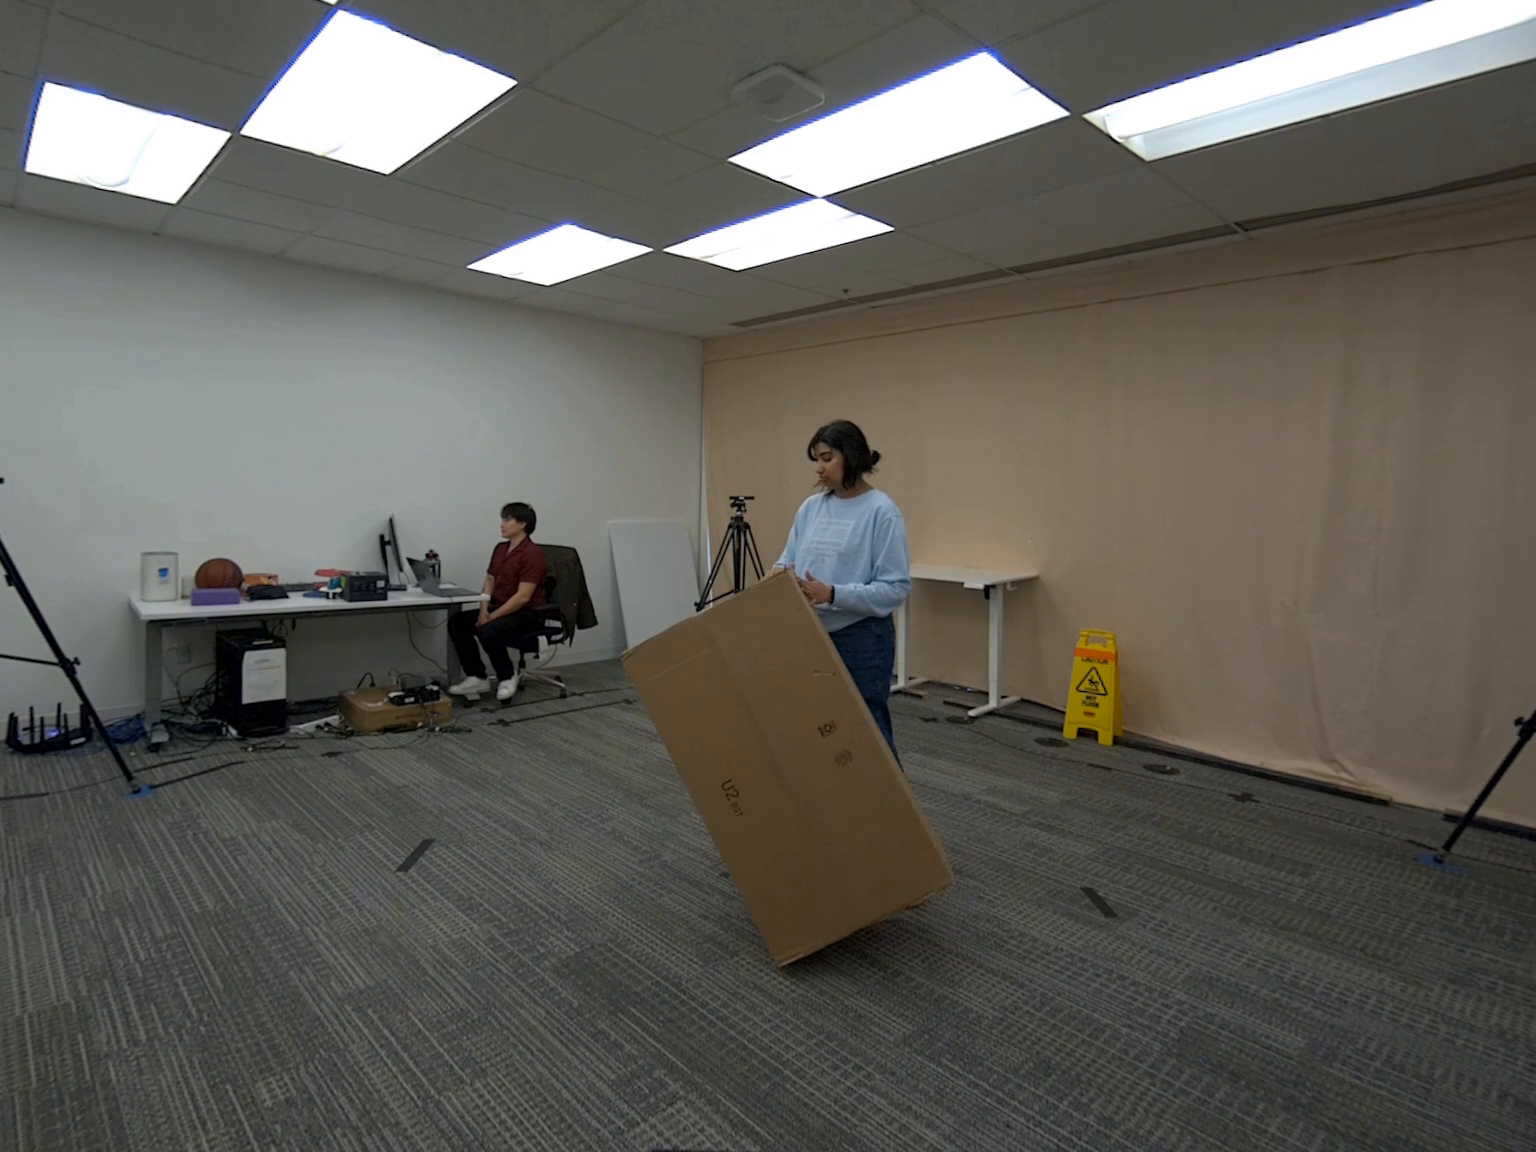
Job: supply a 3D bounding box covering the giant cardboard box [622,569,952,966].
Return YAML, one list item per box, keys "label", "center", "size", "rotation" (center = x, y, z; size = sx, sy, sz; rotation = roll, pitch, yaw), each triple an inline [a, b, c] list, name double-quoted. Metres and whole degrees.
- label: "giant cardboard box"
  center: [0.047, 0.559, 2.661]
  size: [0.585, 1.033, 0.443]
  rotation: [-29, -5, 6]
